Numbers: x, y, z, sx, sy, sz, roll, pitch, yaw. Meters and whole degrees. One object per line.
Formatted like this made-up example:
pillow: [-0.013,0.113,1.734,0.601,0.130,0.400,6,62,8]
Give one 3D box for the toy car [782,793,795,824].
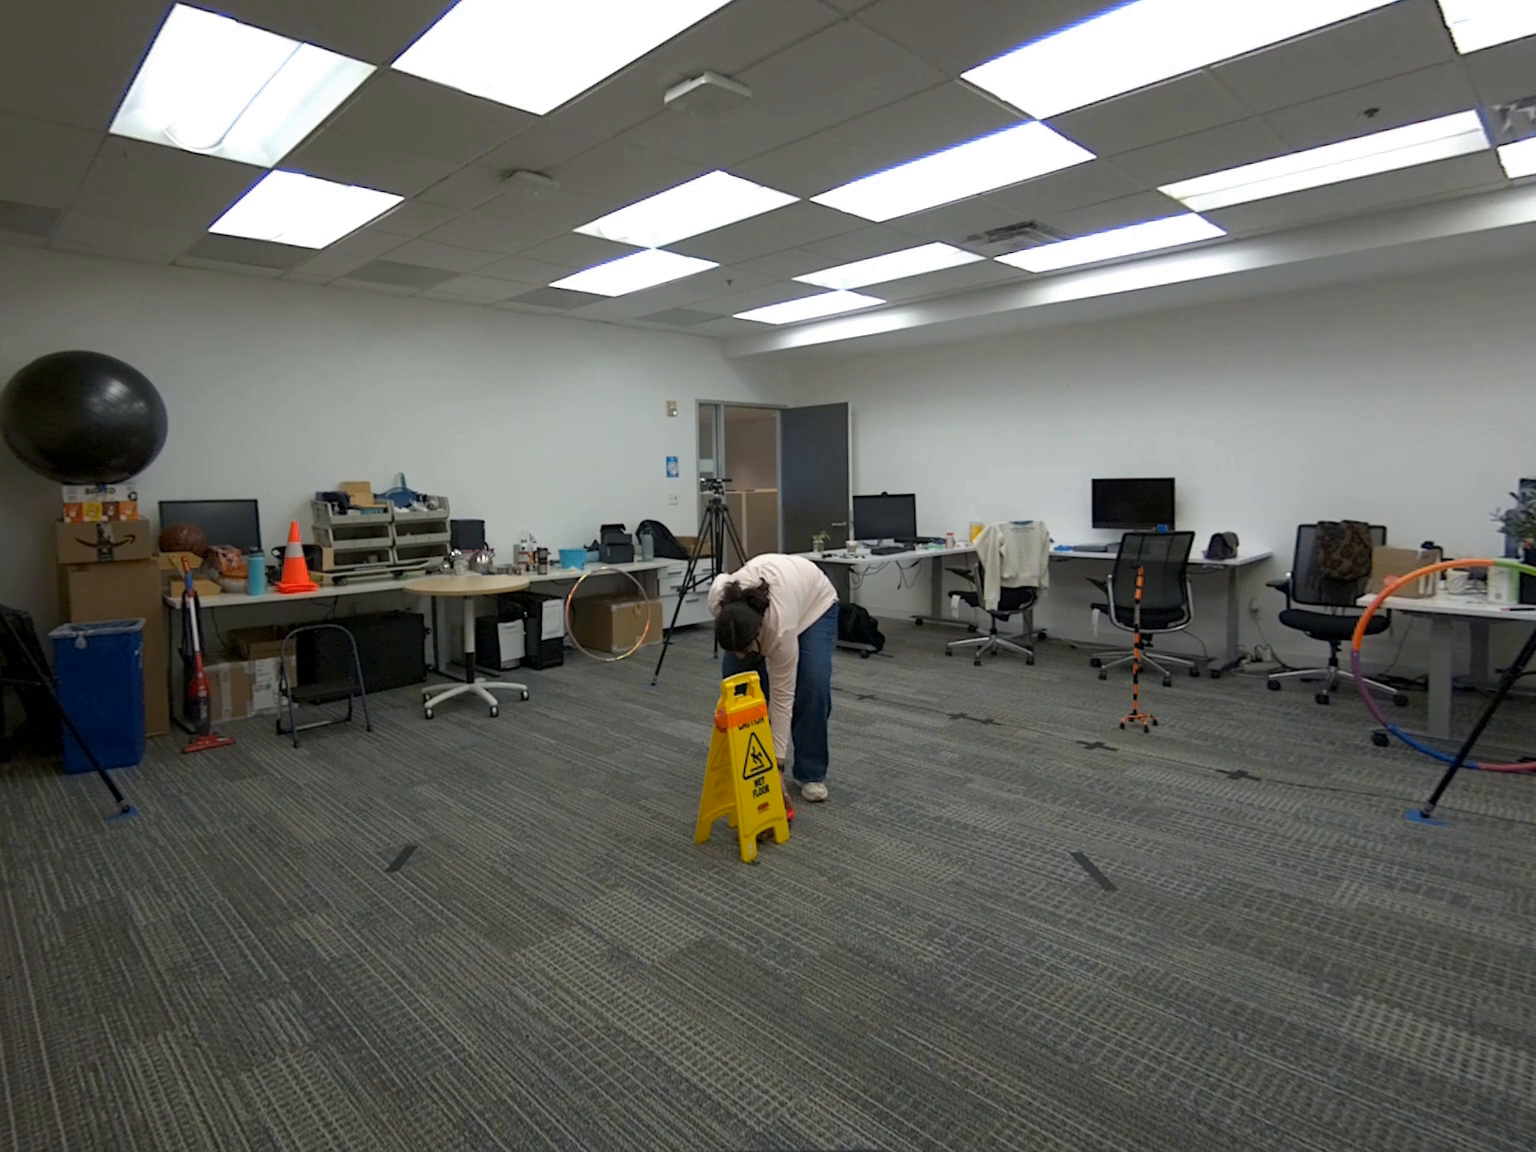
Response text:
toy car: [-0.017,0.989,3.373,0.134,0.082,0.250,3,18,40]
